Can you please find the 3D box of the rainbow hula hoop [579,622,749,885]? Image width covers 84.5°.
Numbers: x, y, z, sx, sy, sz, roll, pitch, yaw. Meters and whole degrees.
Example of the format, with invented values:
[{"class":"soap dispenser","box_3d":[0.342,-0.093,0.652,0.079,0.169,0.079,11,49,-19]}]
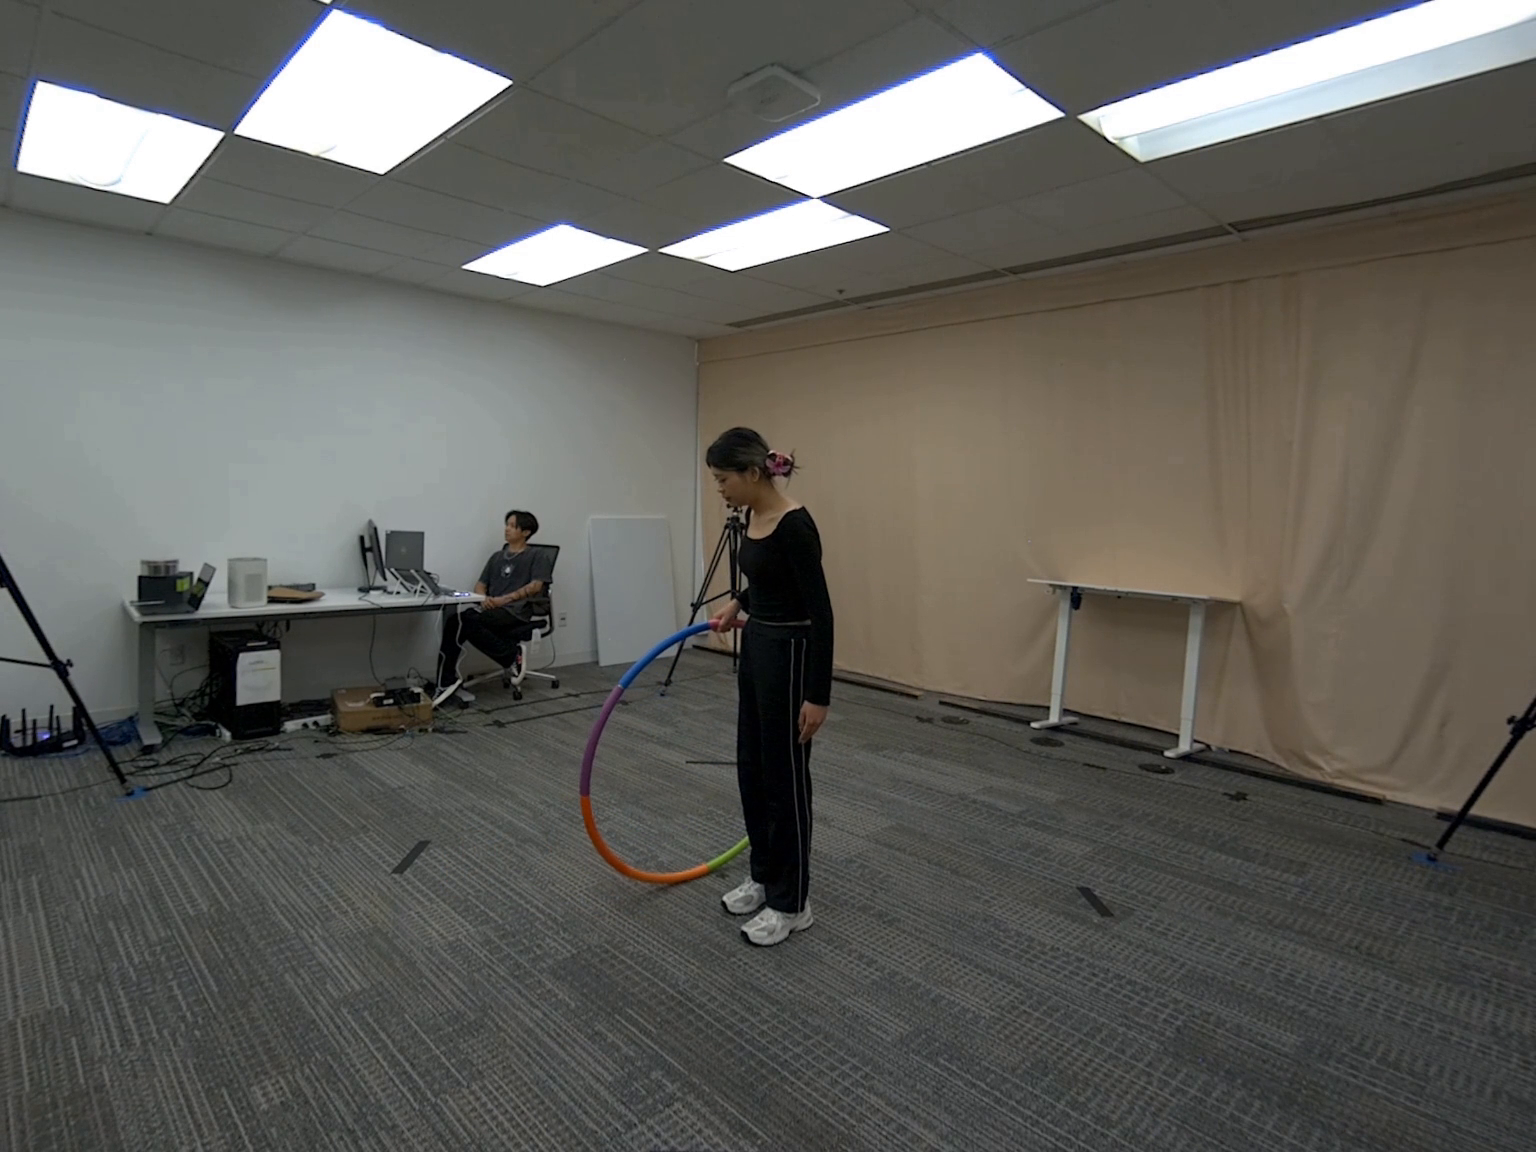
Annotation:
[{"class":"rainbow hula hoop","box_3d":[-0.227,0.625,3.002,0.957,0.972,0.036,-2,13,-39]}]
